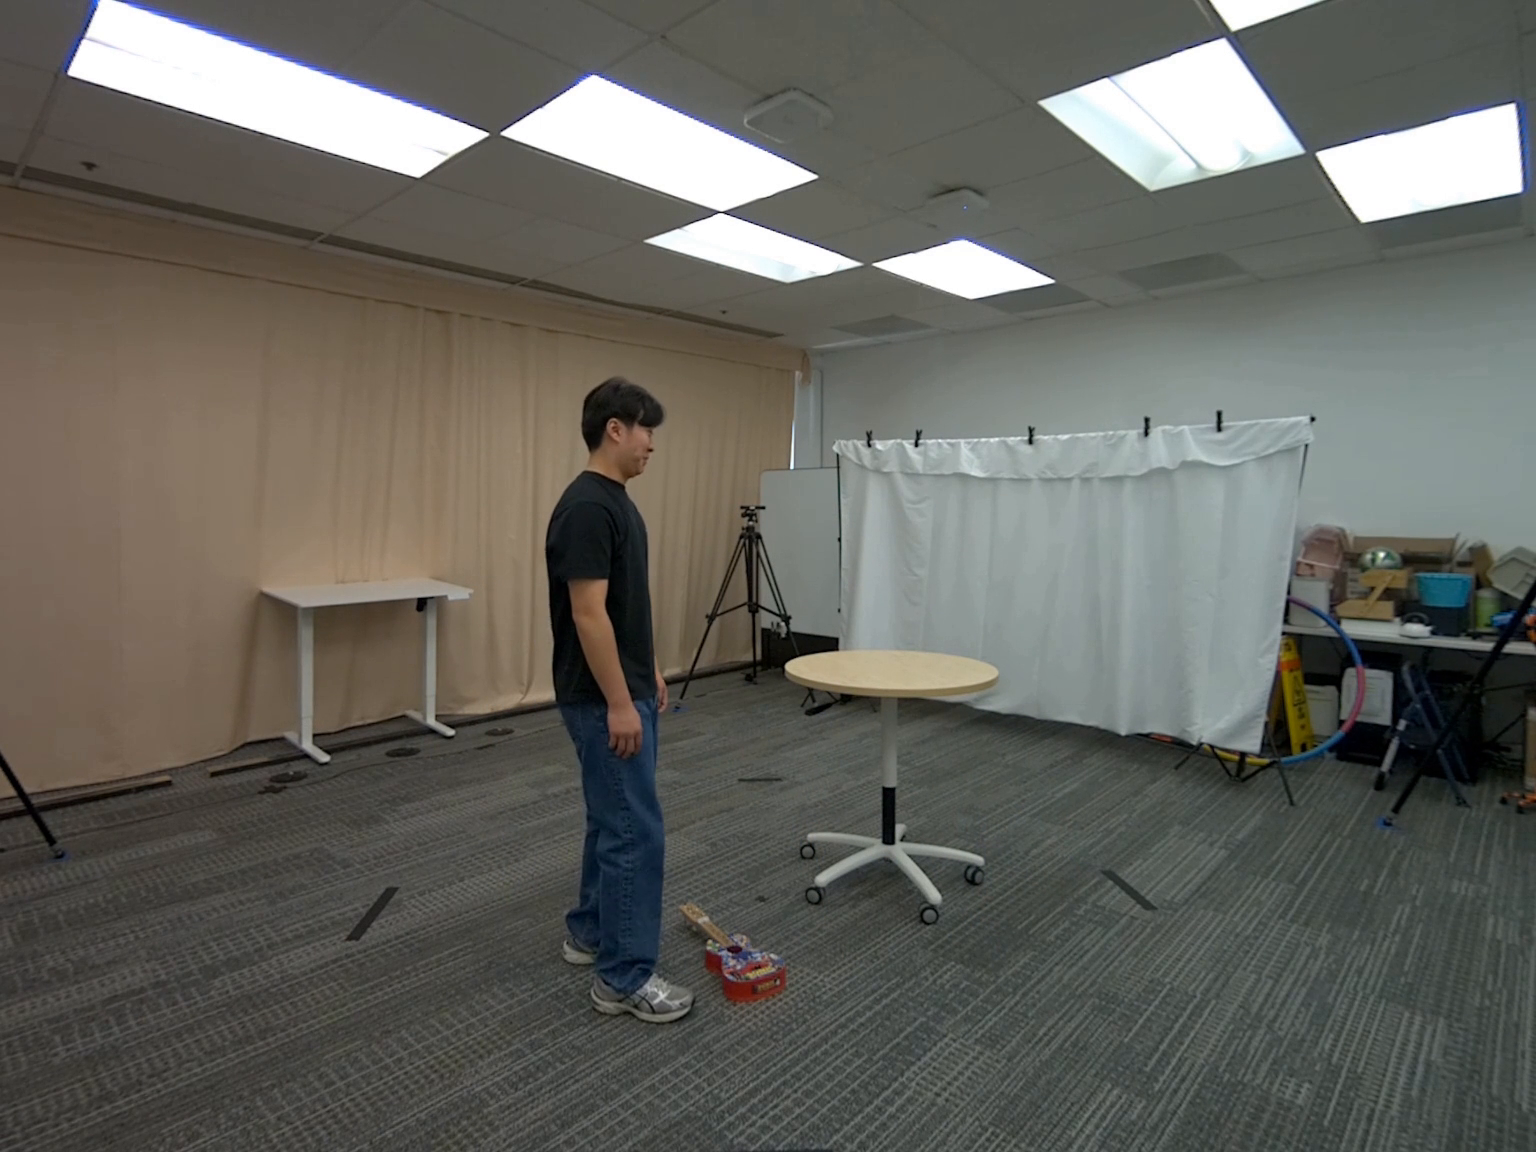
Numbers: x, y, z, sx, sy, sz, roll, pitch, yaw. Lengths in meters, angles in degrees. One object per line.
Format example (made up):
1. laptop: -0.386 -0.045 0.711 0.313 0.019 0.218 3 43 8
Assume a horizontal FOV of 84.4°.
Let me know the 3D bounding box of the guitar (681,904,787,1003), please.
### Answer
1. guitar: -0.109 1.144 2.605 0.189 0.070 0.510 -2 5 -23
